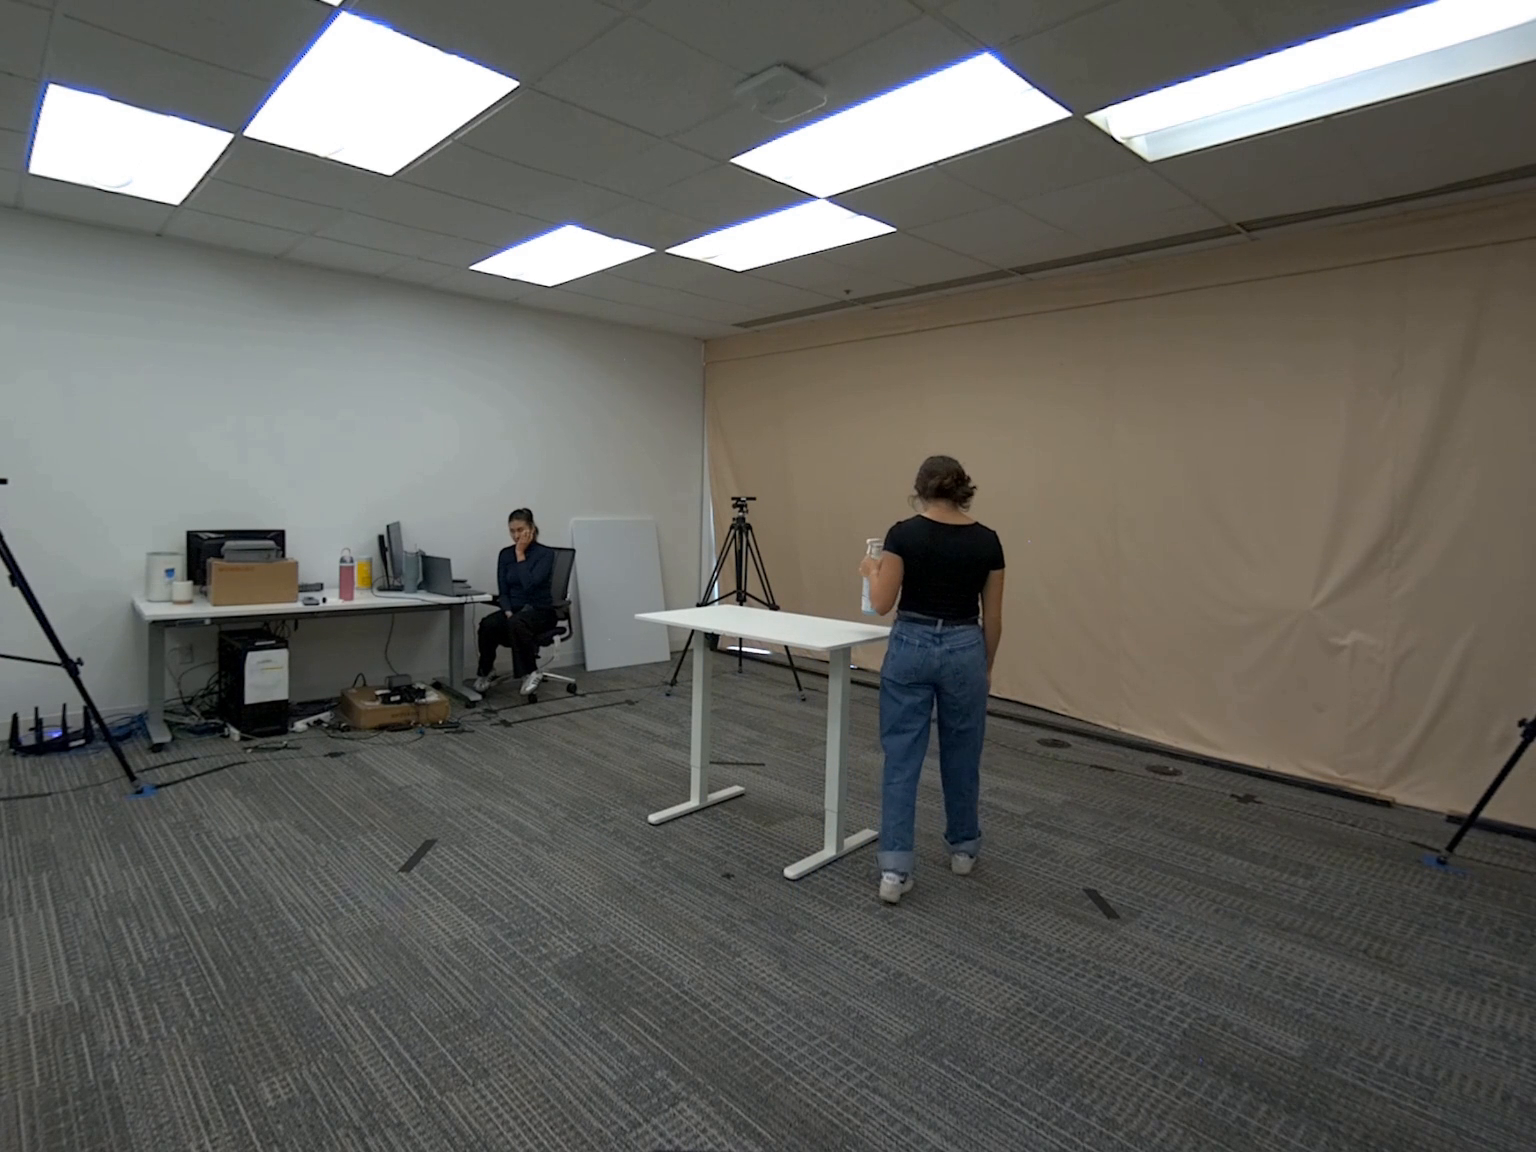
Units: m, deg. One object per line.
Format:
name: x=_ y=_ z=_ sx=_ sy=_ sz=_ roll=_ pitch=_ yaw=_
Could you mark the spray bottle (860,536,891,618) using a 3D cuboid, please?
spray bottle: x=0.419 y=0.002 z=3.278 sx=0.089 sy=0.295 sz=0.089 roll=-3 pitch=12 yaw=-15
